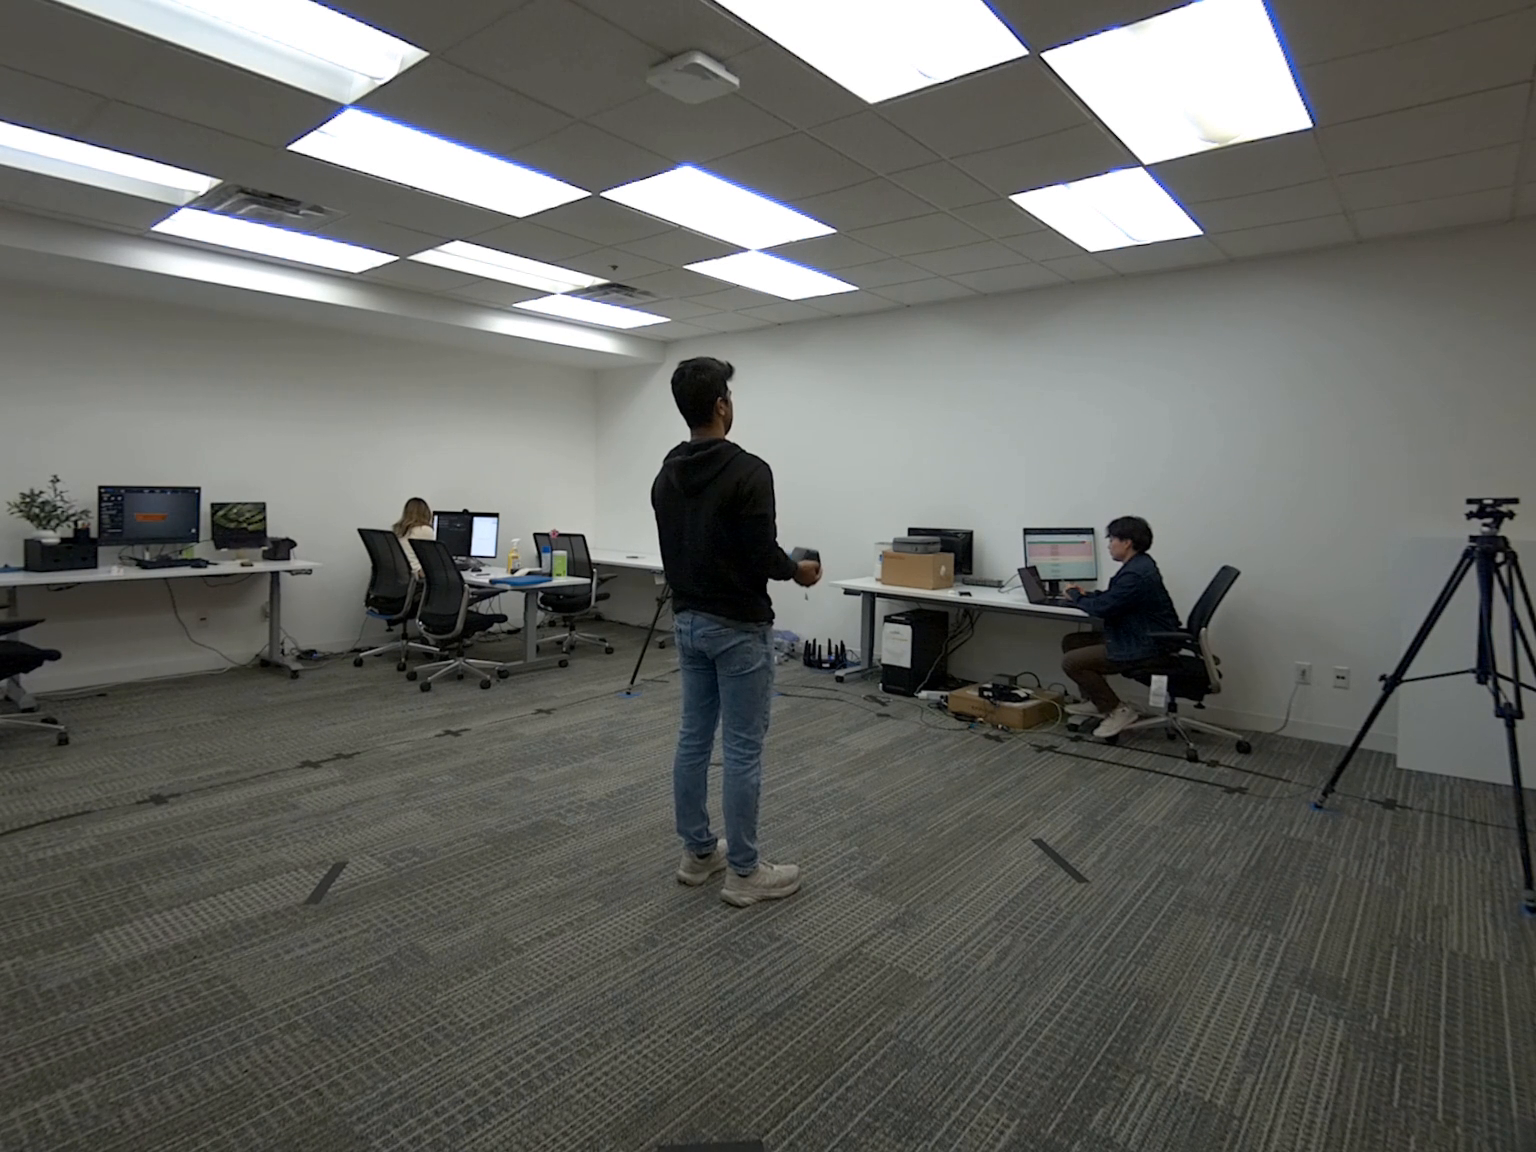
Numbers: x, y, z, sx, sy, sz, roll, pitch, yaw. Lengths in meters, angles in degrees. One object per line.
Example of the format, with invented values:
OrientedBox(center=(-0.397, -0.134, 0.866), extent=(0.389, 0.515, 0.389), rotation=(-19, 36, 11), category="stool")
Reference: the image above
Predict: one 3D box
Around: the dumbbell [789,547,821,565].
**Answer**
OrientedBox(center=(0.037, -0.065, 3.154), extent=(0.304, 0.120, 0.107), rotation=(11, 32, 43), category="dumbbell")
